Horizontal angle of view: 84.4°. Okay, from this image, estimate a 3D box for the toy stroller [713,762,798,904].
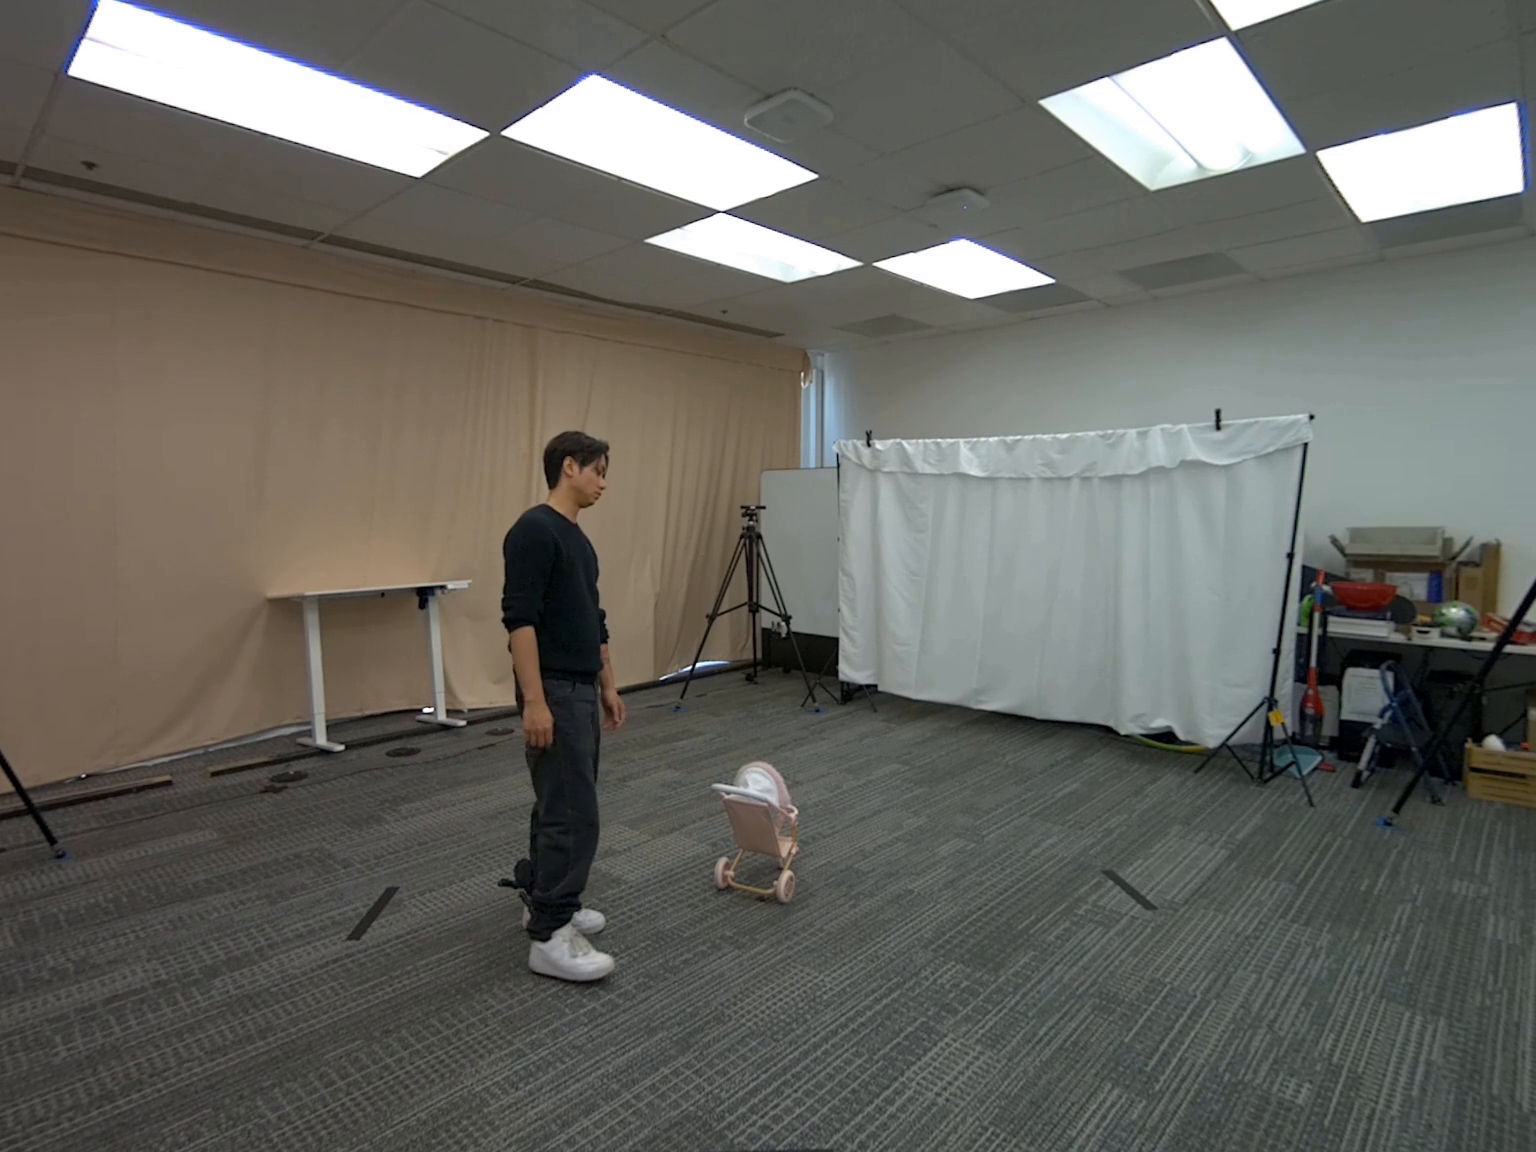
[{"bbox_3d":[-0.018,0.910,3.061,0.289,0.528,0.336,2,19,29],"label":"toy stroller"}]
